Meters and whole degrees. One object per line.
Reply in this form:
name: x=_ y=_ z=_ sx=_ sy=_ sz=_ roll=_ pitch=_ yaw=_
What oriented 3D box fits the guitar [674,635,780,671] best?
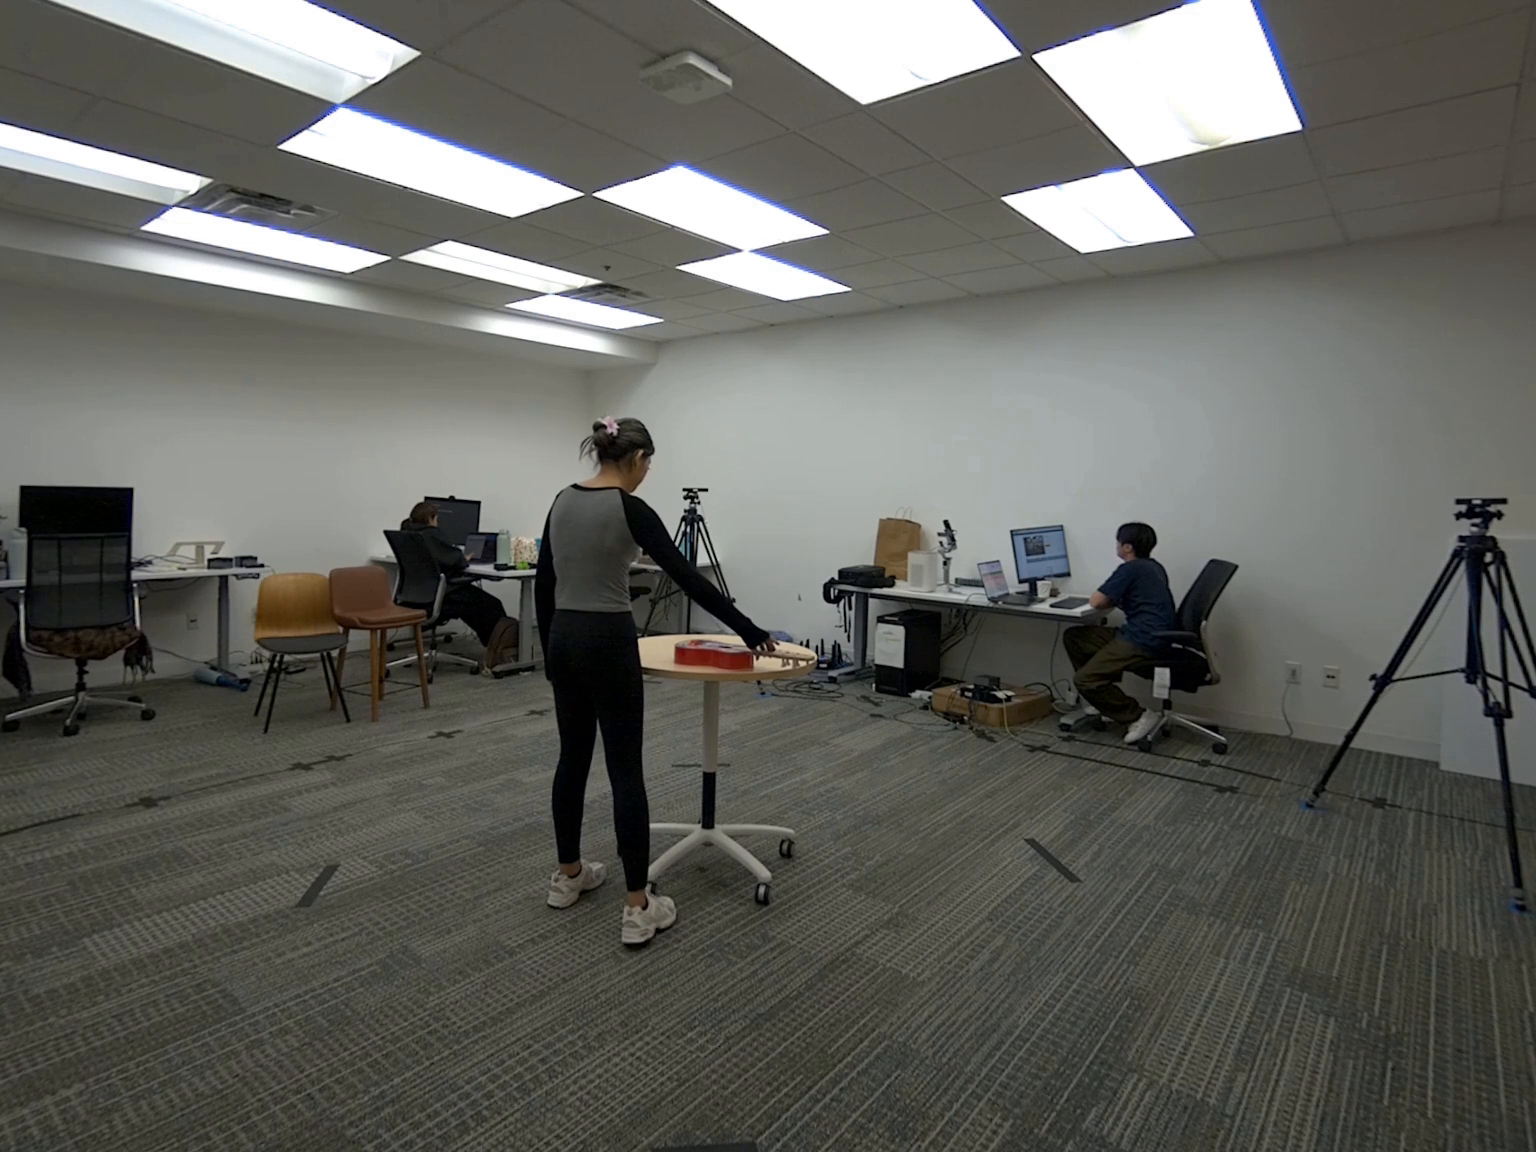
guitar: x=-0.106 y=0.274 z=2.832 sx=0.514 sy=0.070 sz=0.187 roll=6 pitch=7 yaw=37
